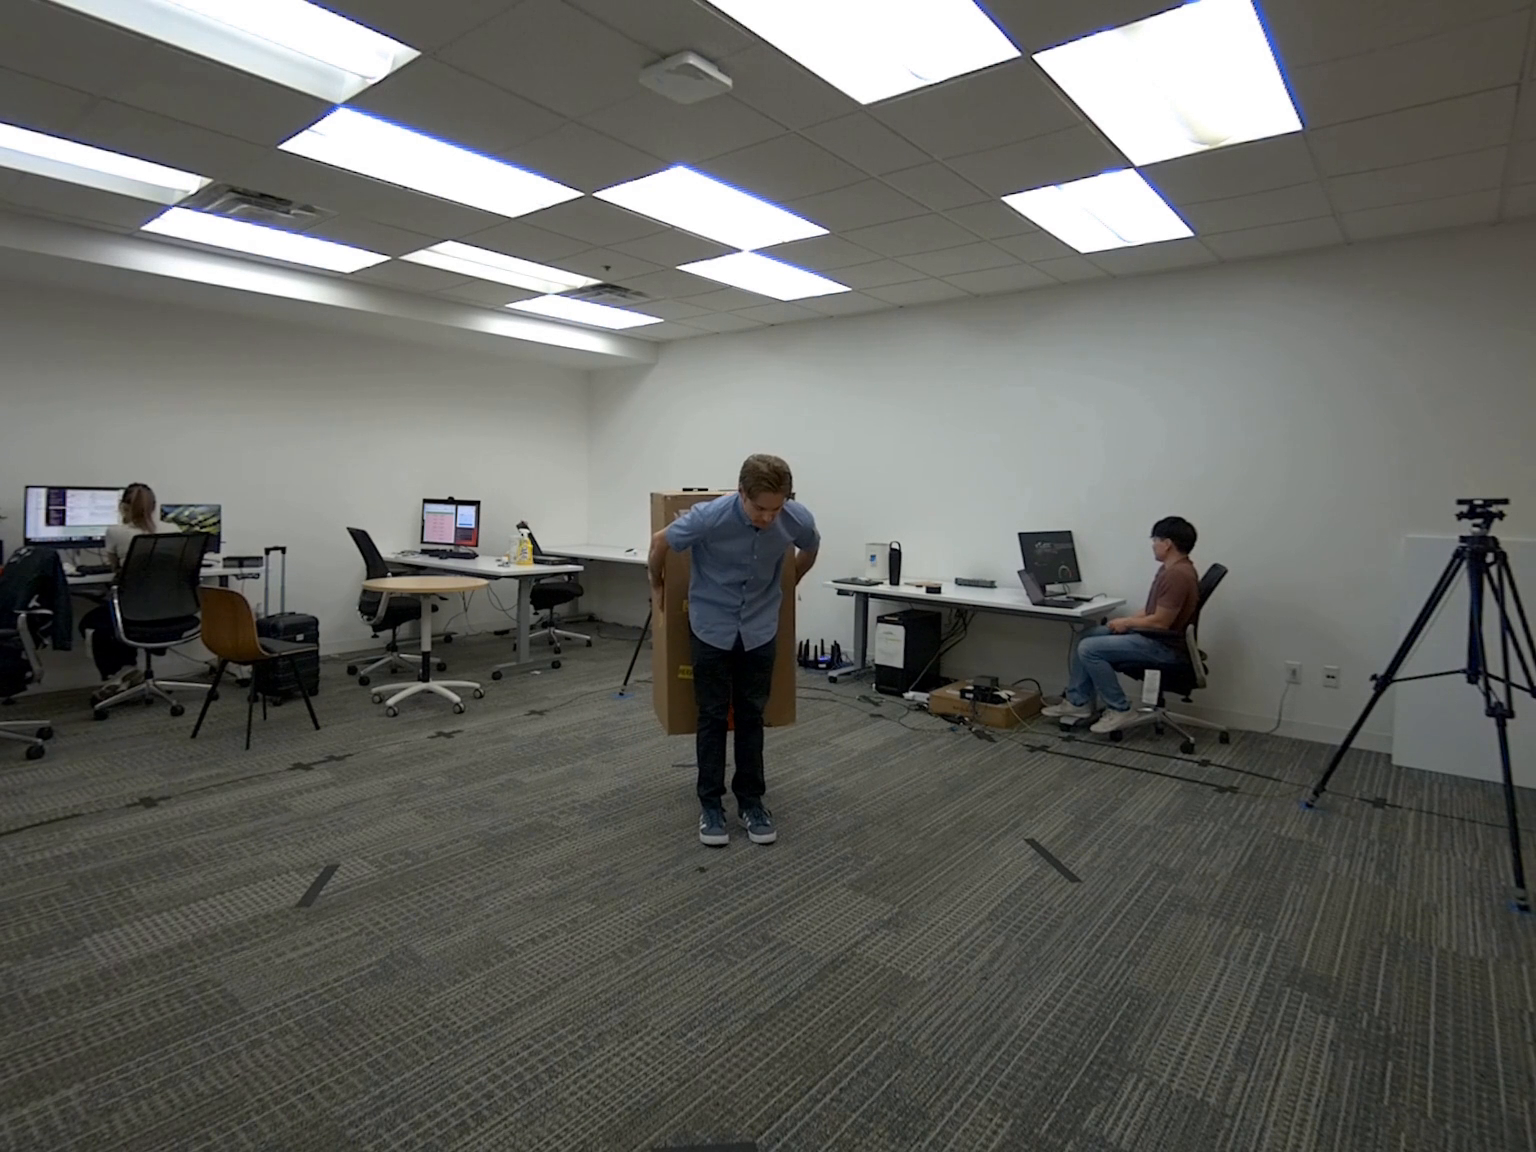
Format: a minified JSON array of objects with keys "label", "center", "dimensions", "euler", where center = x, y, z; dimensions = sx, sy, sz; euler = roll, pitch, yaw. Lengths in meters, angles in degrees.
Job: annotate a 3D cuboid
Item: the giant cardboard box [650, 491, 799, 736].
[{"label":"giant cardboard box","center":[-0.221,0.136,3.825],"dimensions":[0.576,1.023,0.455],"euler":[-2,4,-14]}]
